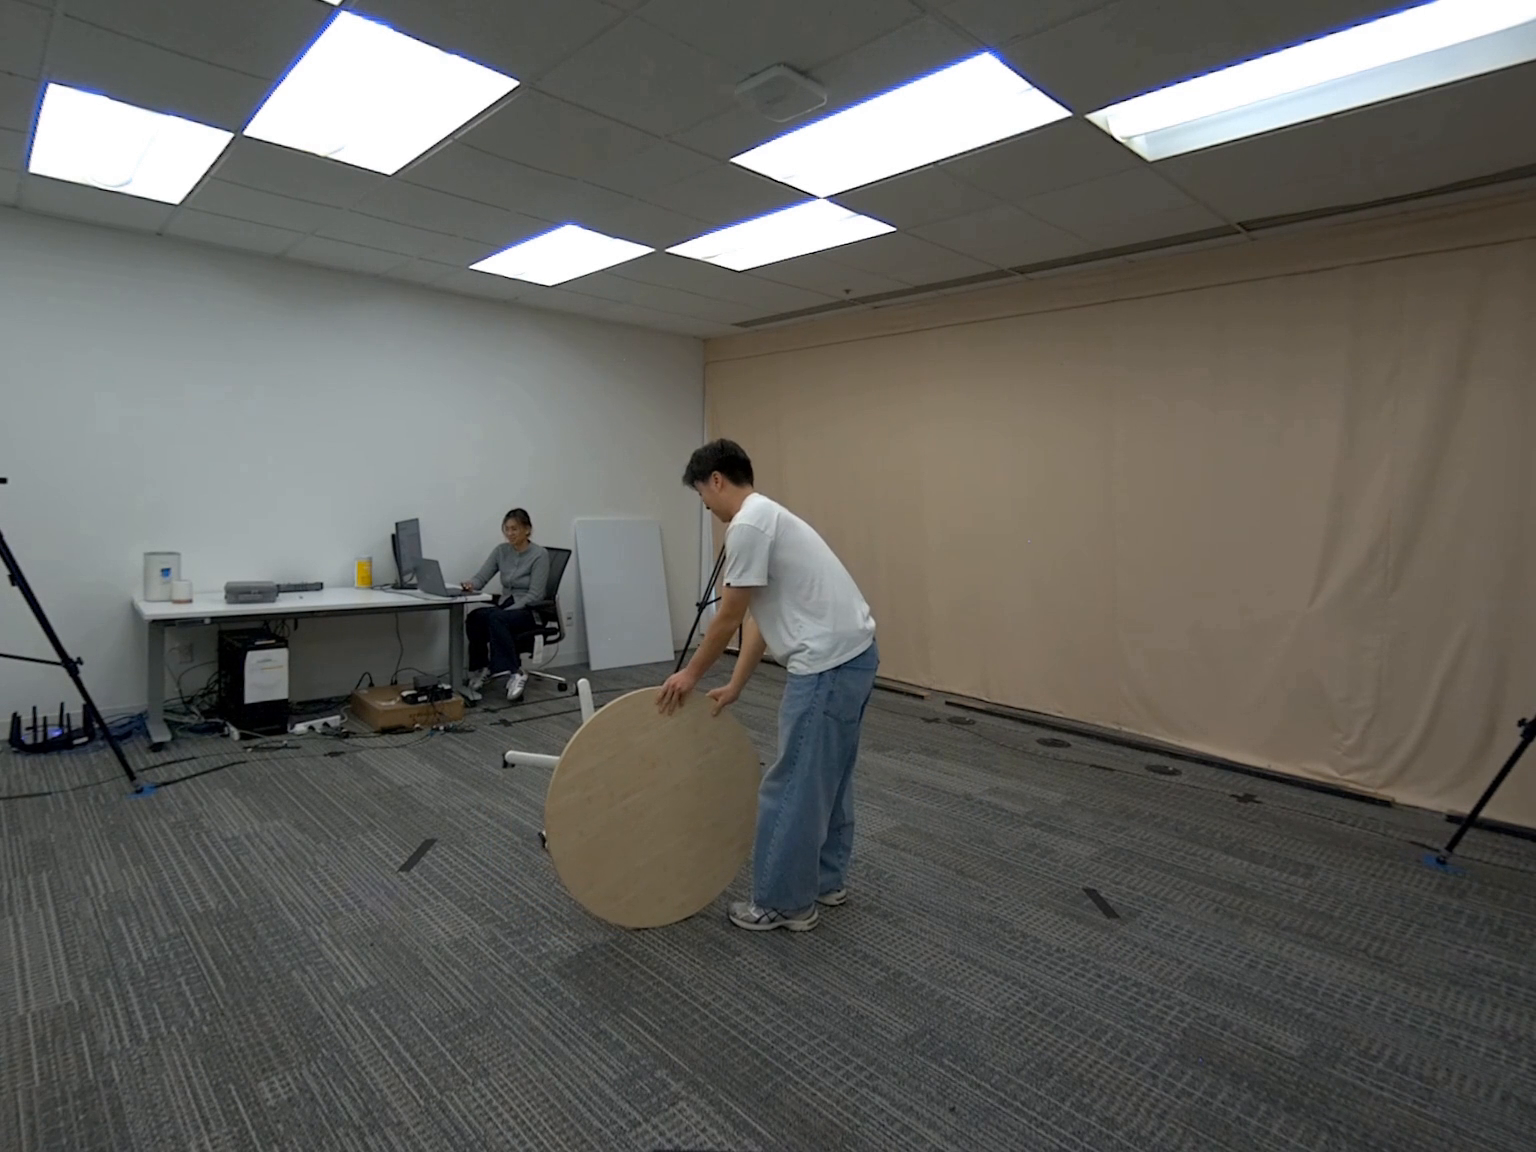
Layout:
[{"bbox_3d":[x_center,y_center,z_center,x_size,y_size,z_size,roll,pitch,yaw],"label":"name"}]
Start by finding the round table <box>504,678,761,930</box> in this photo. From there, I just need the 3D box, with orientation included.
[{"bbox_3d":[-0.558,0.763,3.094,0.749,0.765,0.808,-1,-2,-30],"label":"round table"}]
